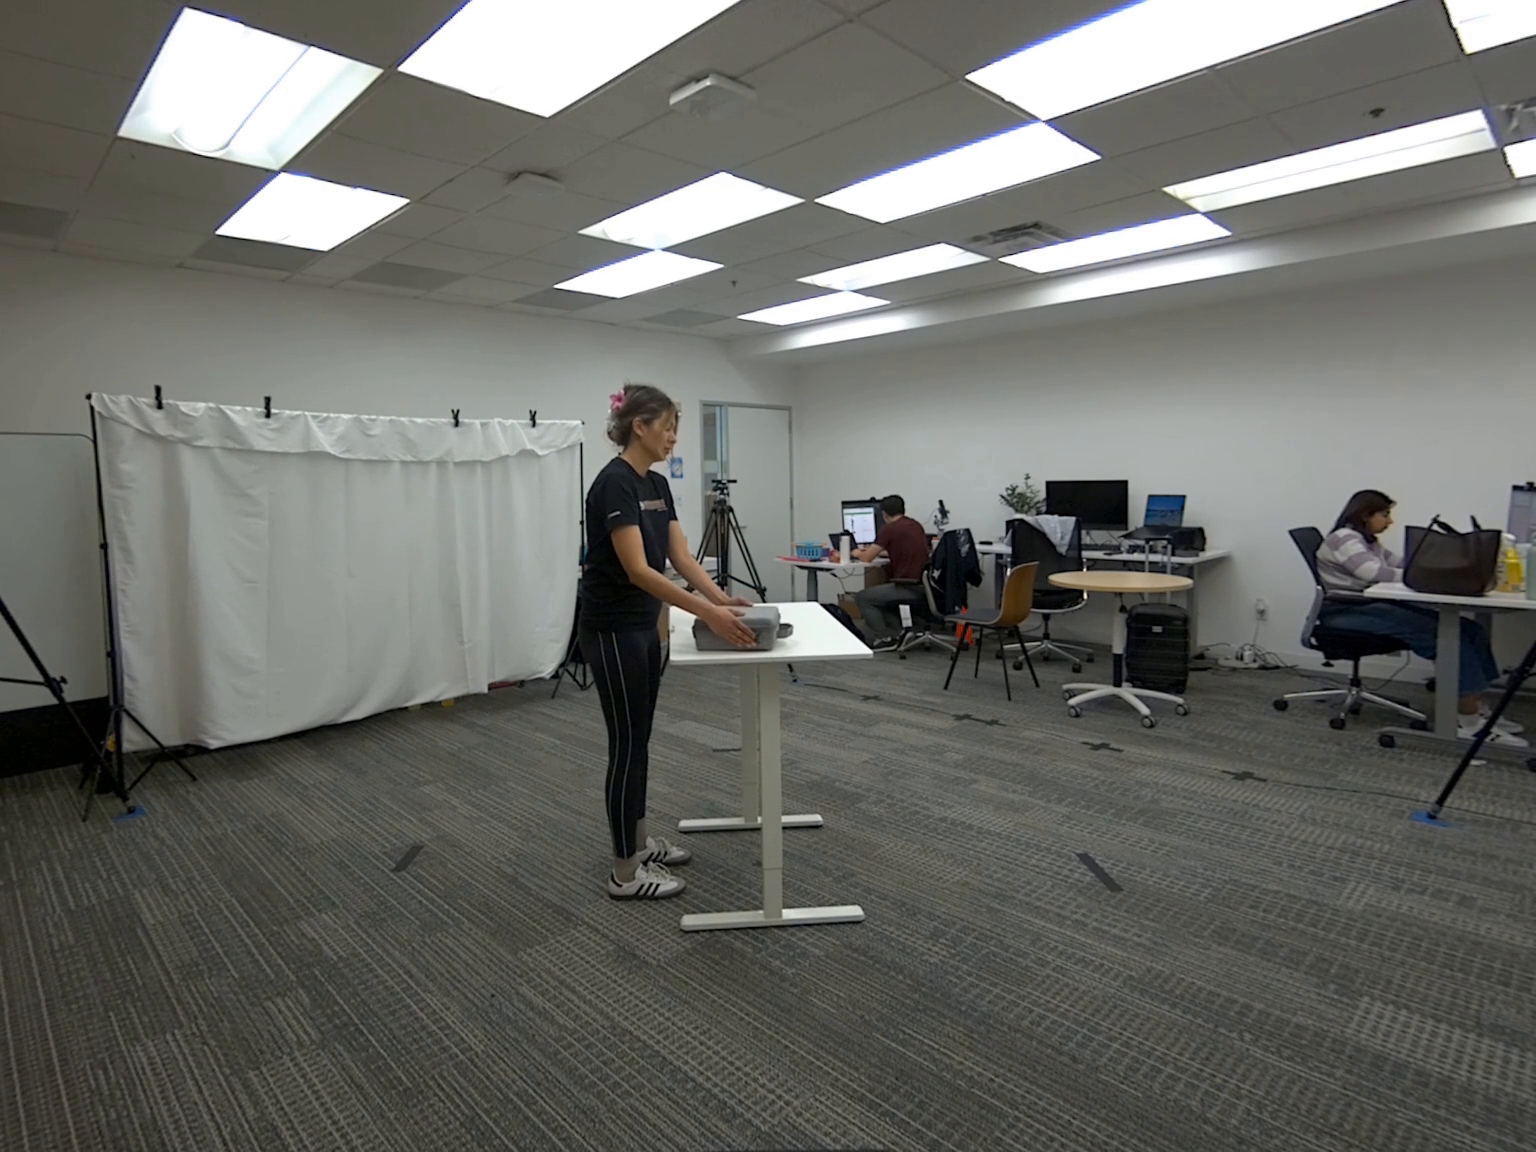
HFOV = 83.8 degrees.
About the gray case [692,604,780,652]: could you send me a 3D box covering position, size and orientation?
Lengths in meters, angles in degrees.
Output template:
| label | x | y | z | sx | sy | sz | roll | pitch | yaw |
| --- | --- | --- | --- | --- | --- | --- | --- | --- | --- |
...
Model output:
| label | x | y | z | sx | sy | sz | roll | pitch | yaw |
| --- | --- | --- | --- | --- | --- | --- | --- | --- | --- |
| gray case | -0.083 | 0.165 | 2.693 | 0.262 | 0.104 | 0.257 | -2 | 6 | 4 |
